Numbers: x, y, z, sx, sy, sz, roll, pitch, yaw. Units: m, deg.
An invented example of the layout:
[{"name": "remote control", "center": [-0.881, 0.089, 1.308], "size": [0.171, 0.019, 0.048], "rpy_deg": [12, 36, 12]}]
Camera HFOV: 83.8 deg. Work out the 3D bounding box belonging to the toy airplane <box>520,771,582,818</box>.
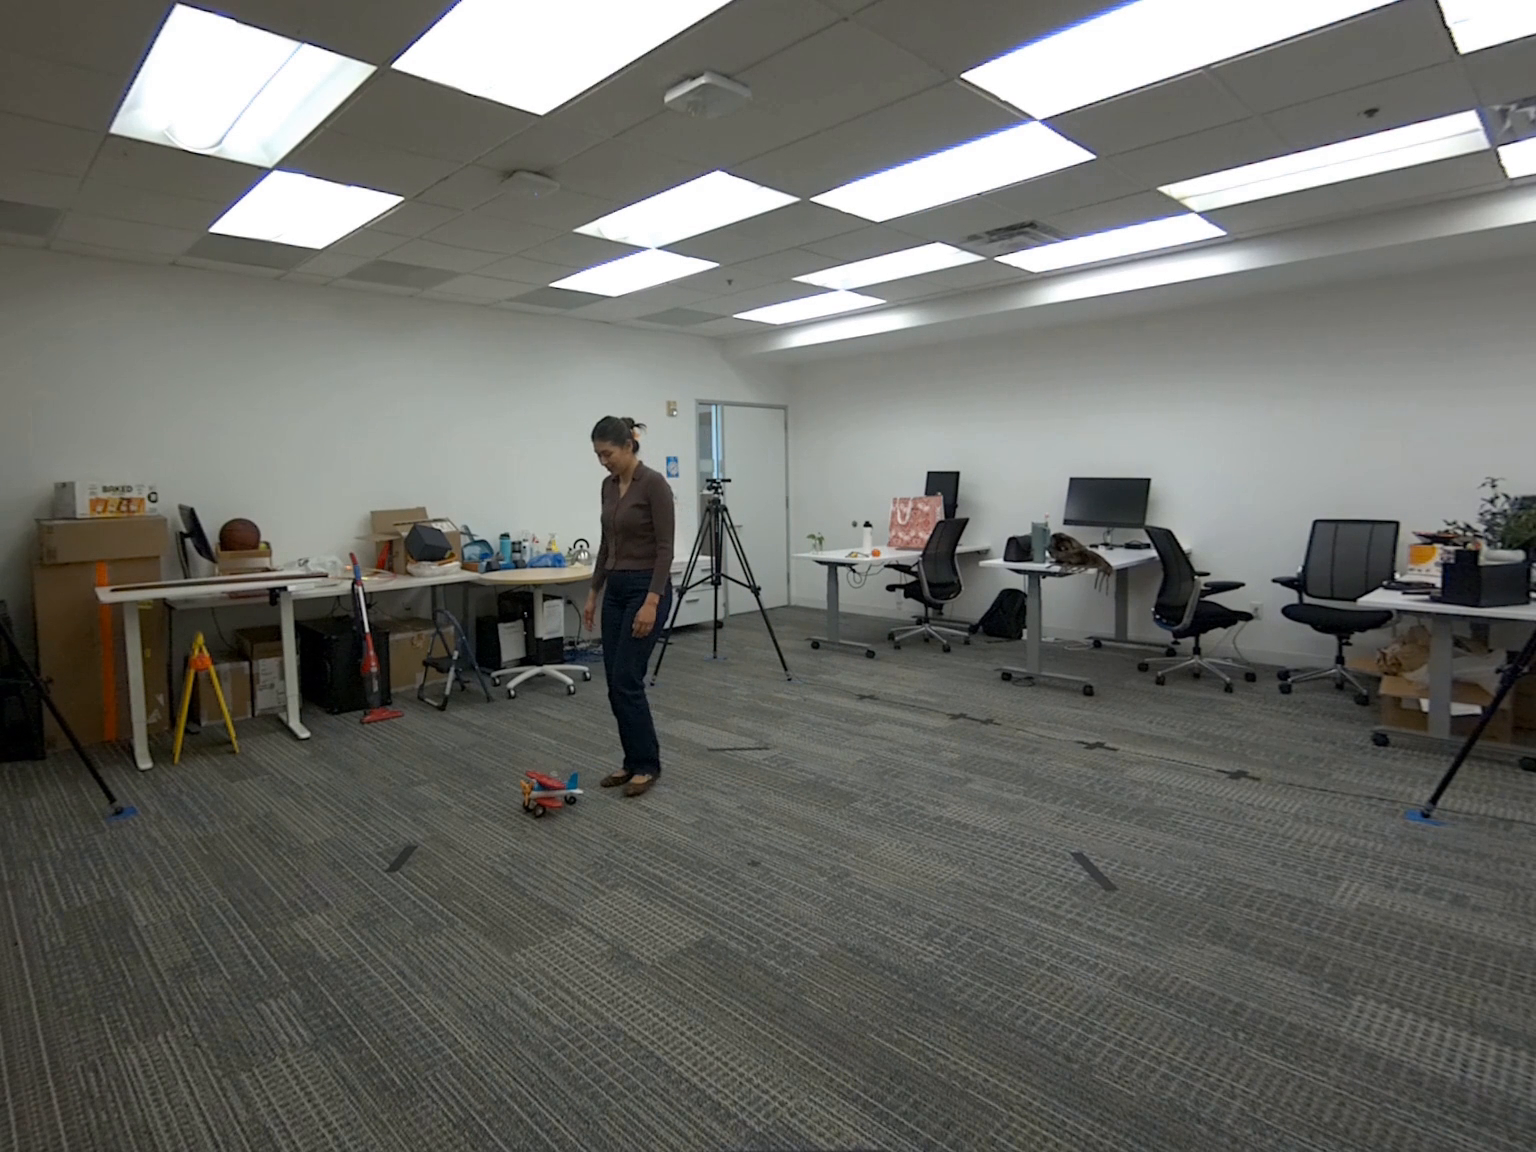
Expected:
[{"name": "toy airplane", "center": [-0.944, 0.925, 3.677], "size": [0.256, 0.155, 0.256], "rpy_deg": [0, 7, 19]}]
